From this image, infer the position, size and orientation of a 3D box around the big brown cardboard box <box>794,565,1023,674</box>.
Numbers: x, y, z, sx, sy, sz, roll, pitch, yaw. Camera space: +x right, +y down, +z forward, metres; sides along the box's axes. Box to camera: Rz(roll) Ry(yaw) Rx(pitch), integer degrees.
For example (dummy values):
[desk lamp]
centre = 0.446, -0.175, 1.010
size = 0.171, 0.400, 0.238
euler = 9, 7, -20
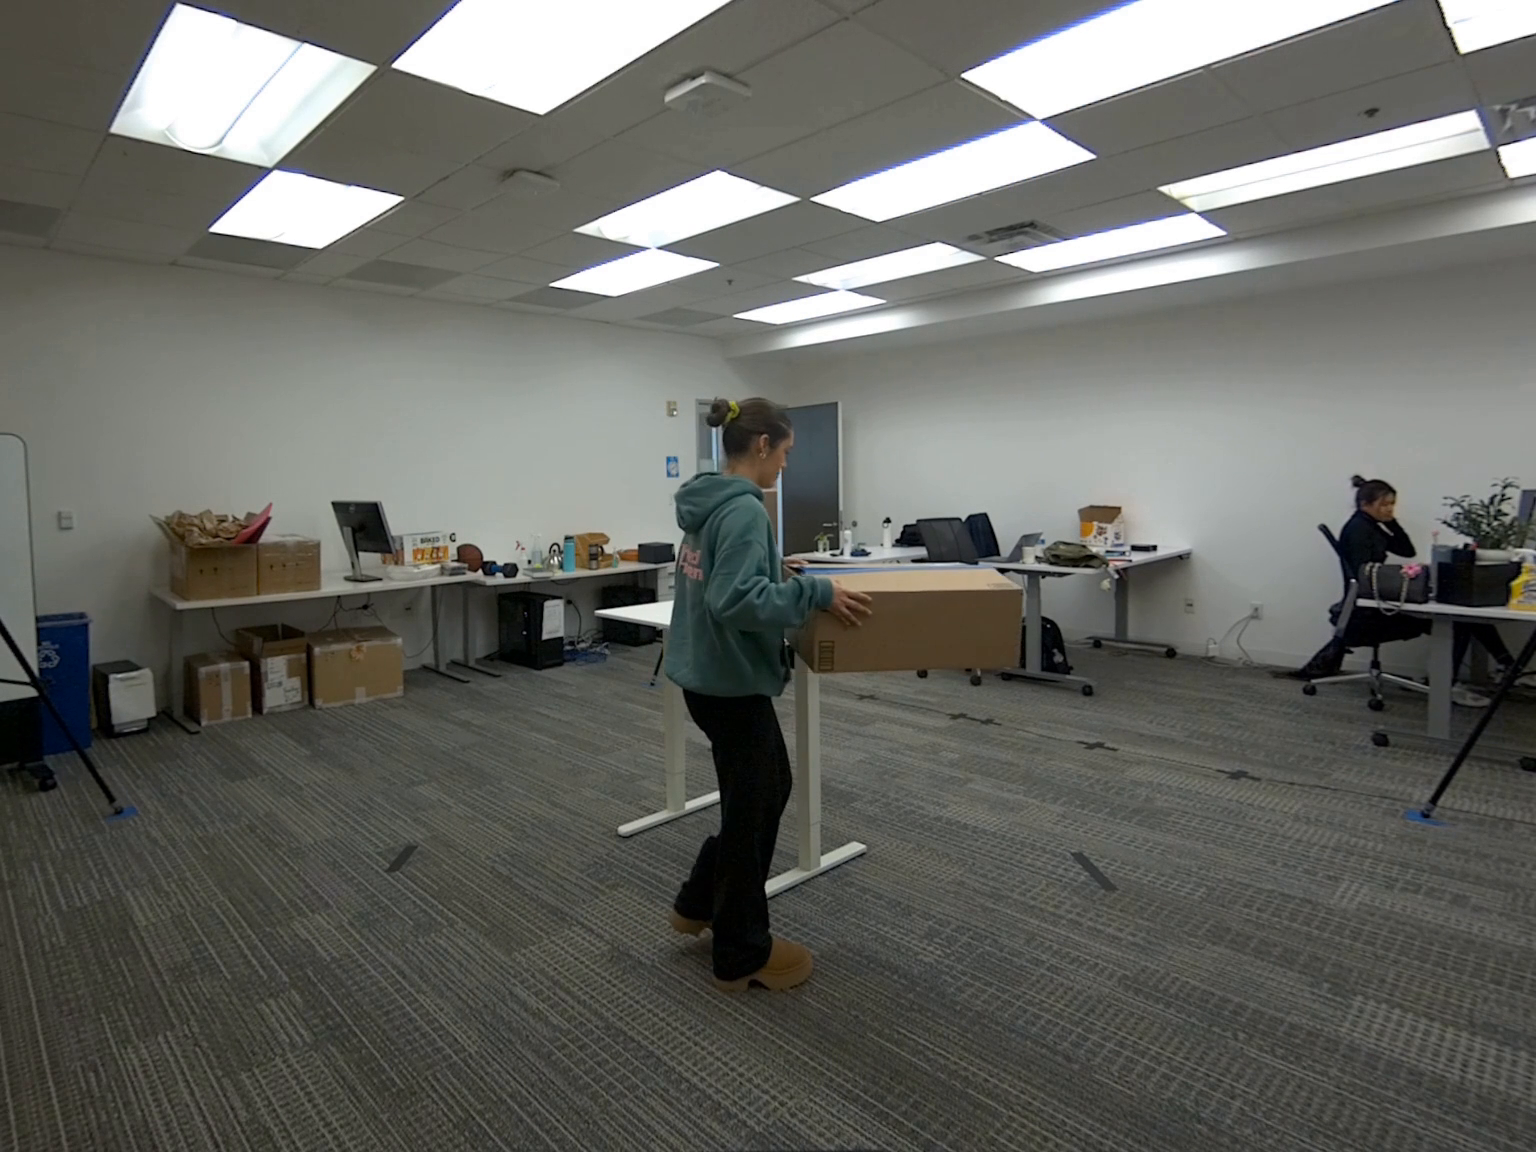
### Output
[big brown cardboard box]
centre = 0.363, 0.098, 2.416
size = 0.584, 0.231, 0.424
euler = -1, 9, -8
